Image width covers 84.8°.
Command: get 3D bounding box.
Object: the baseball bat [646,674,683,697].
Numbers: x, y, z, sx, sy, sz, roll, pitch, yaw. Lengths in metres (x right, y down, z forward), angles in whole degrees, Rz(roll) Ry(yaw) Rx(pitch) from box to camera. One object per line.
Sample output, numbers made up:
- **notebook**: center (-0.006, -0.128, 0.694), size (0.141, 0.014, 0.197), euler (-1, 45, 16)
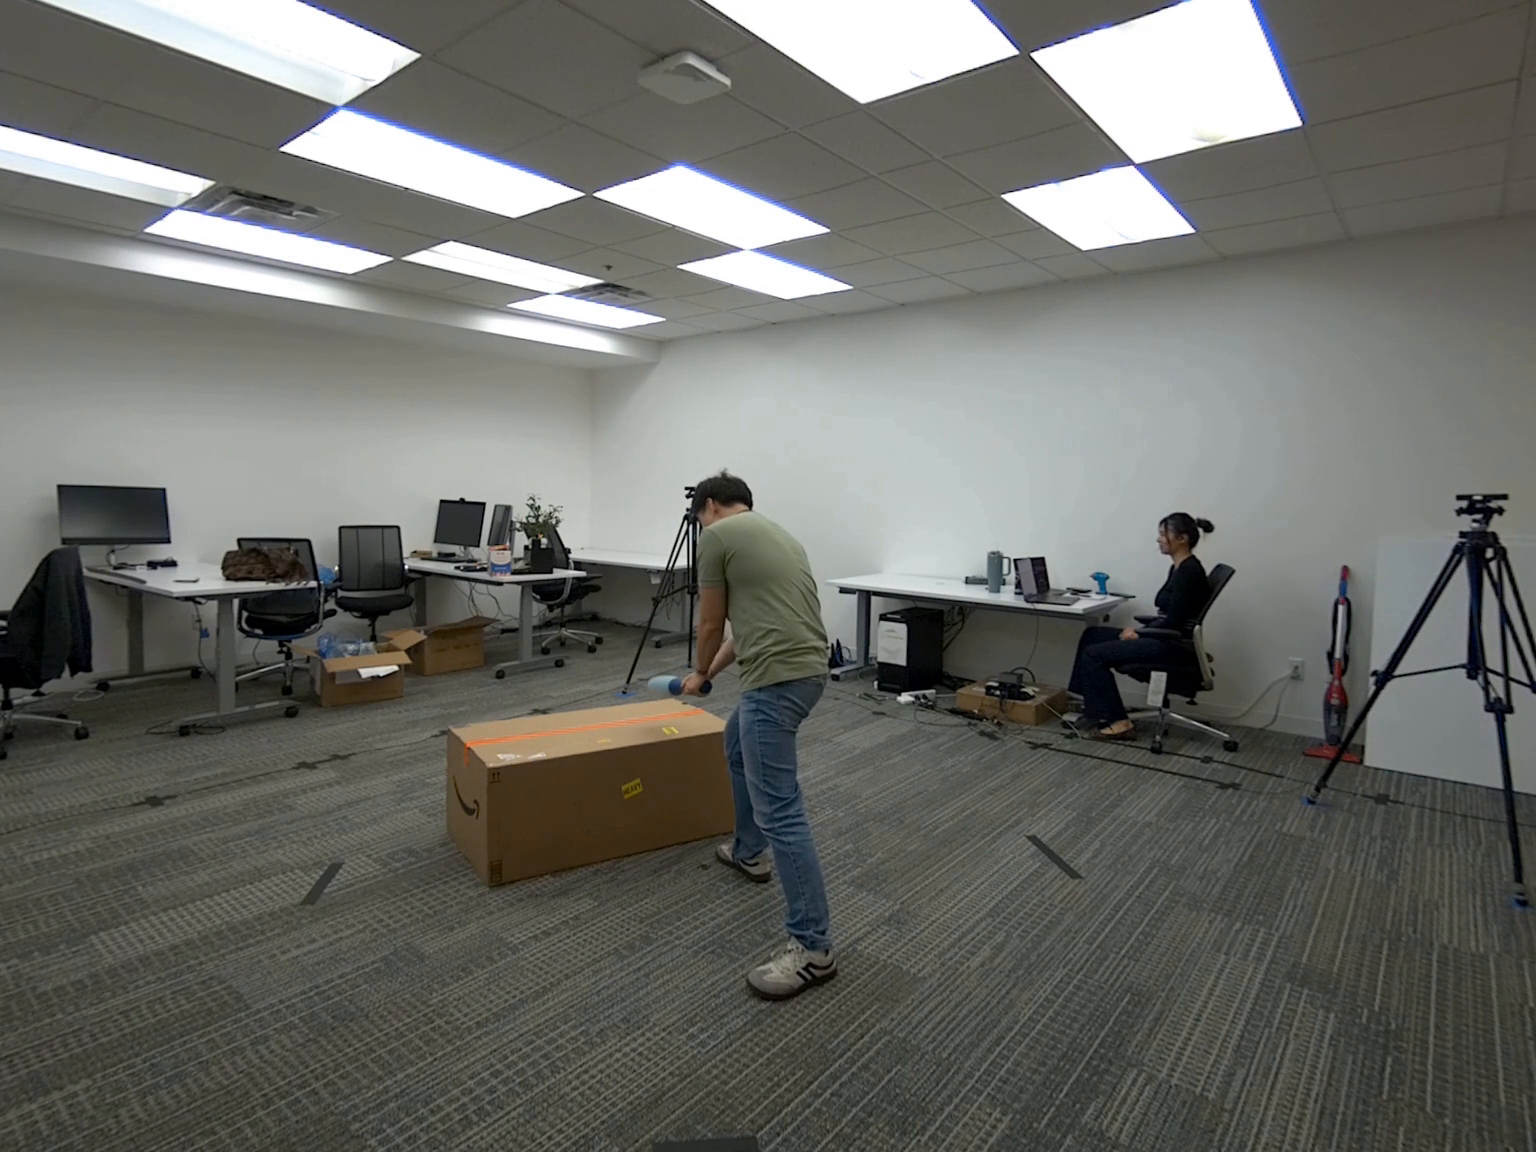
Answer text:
- **baseball bat**: center (-0.363, 0.390, 3.219), size (0.087, 0.090, 0.551), euler (-1, -6, -24)
